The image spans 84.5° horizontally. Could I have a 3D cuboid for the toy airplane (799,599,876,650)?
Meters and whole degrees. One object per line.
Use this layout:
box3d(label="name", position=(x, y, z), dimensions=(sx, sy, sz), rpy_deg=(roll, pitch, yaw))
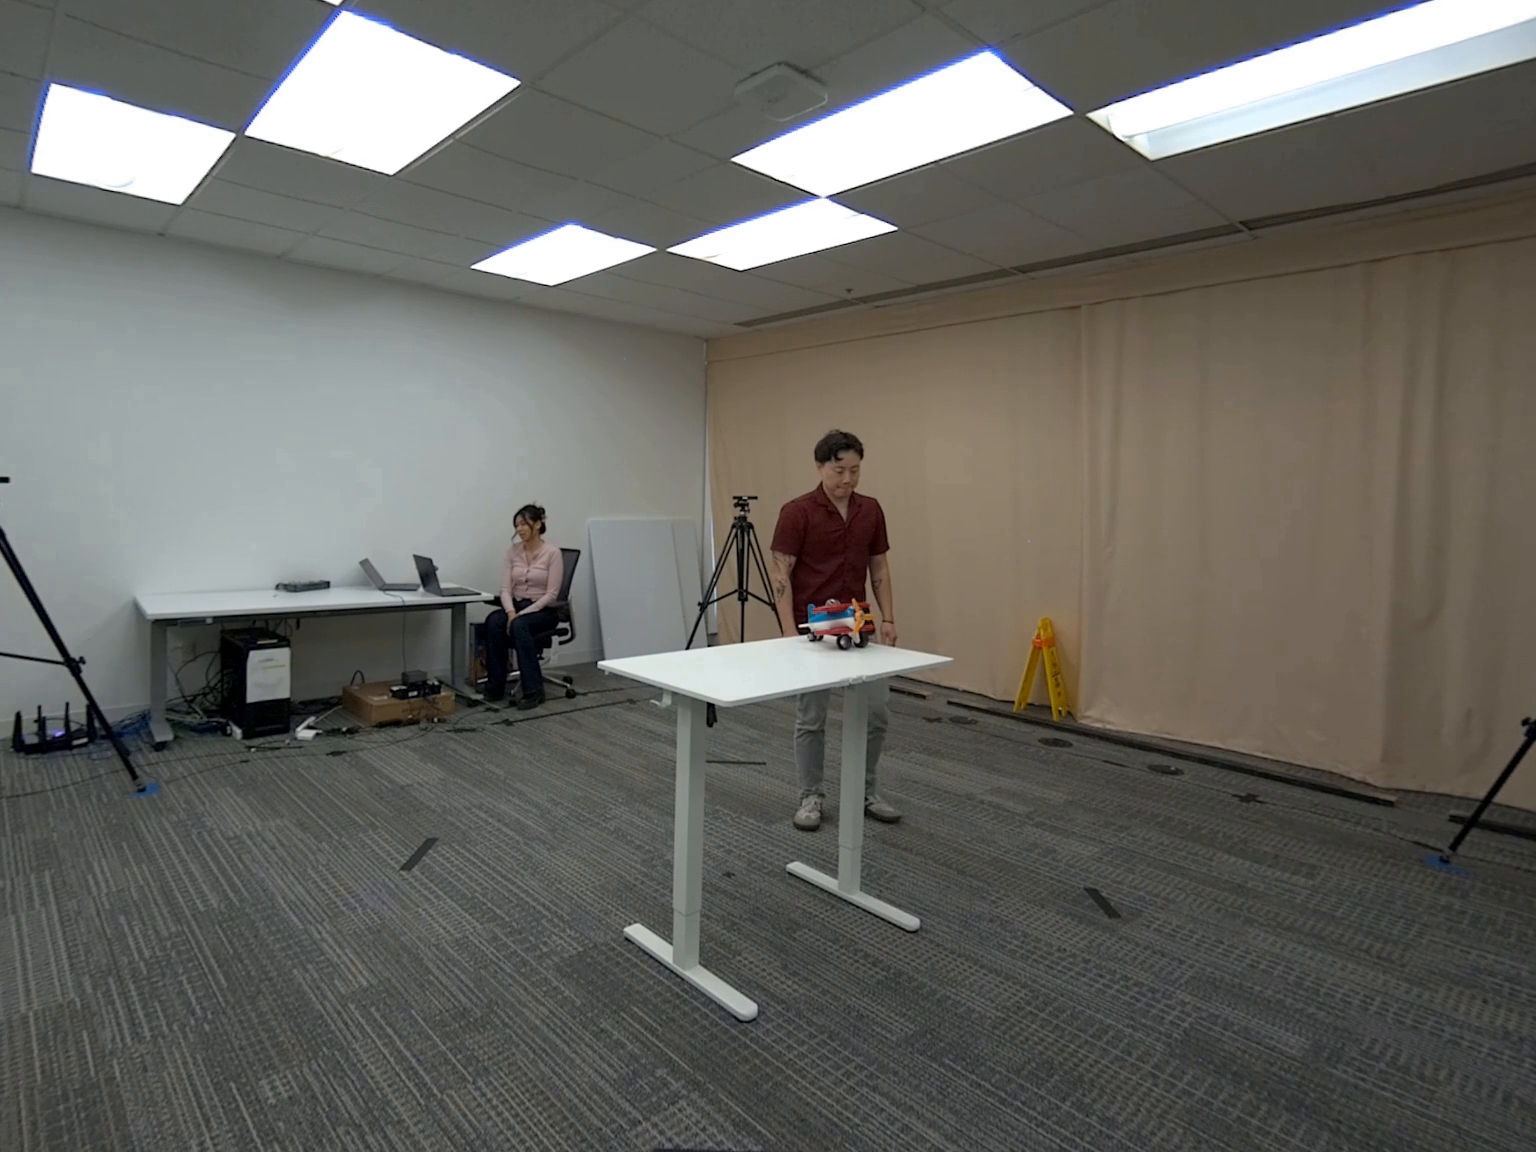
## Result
box3d(label="toy airplane", position=(0.212, 0.166, 2.946), dimensions=(0.264, 0.156, 0.247), rpy_deg=(5, 4, 21))
